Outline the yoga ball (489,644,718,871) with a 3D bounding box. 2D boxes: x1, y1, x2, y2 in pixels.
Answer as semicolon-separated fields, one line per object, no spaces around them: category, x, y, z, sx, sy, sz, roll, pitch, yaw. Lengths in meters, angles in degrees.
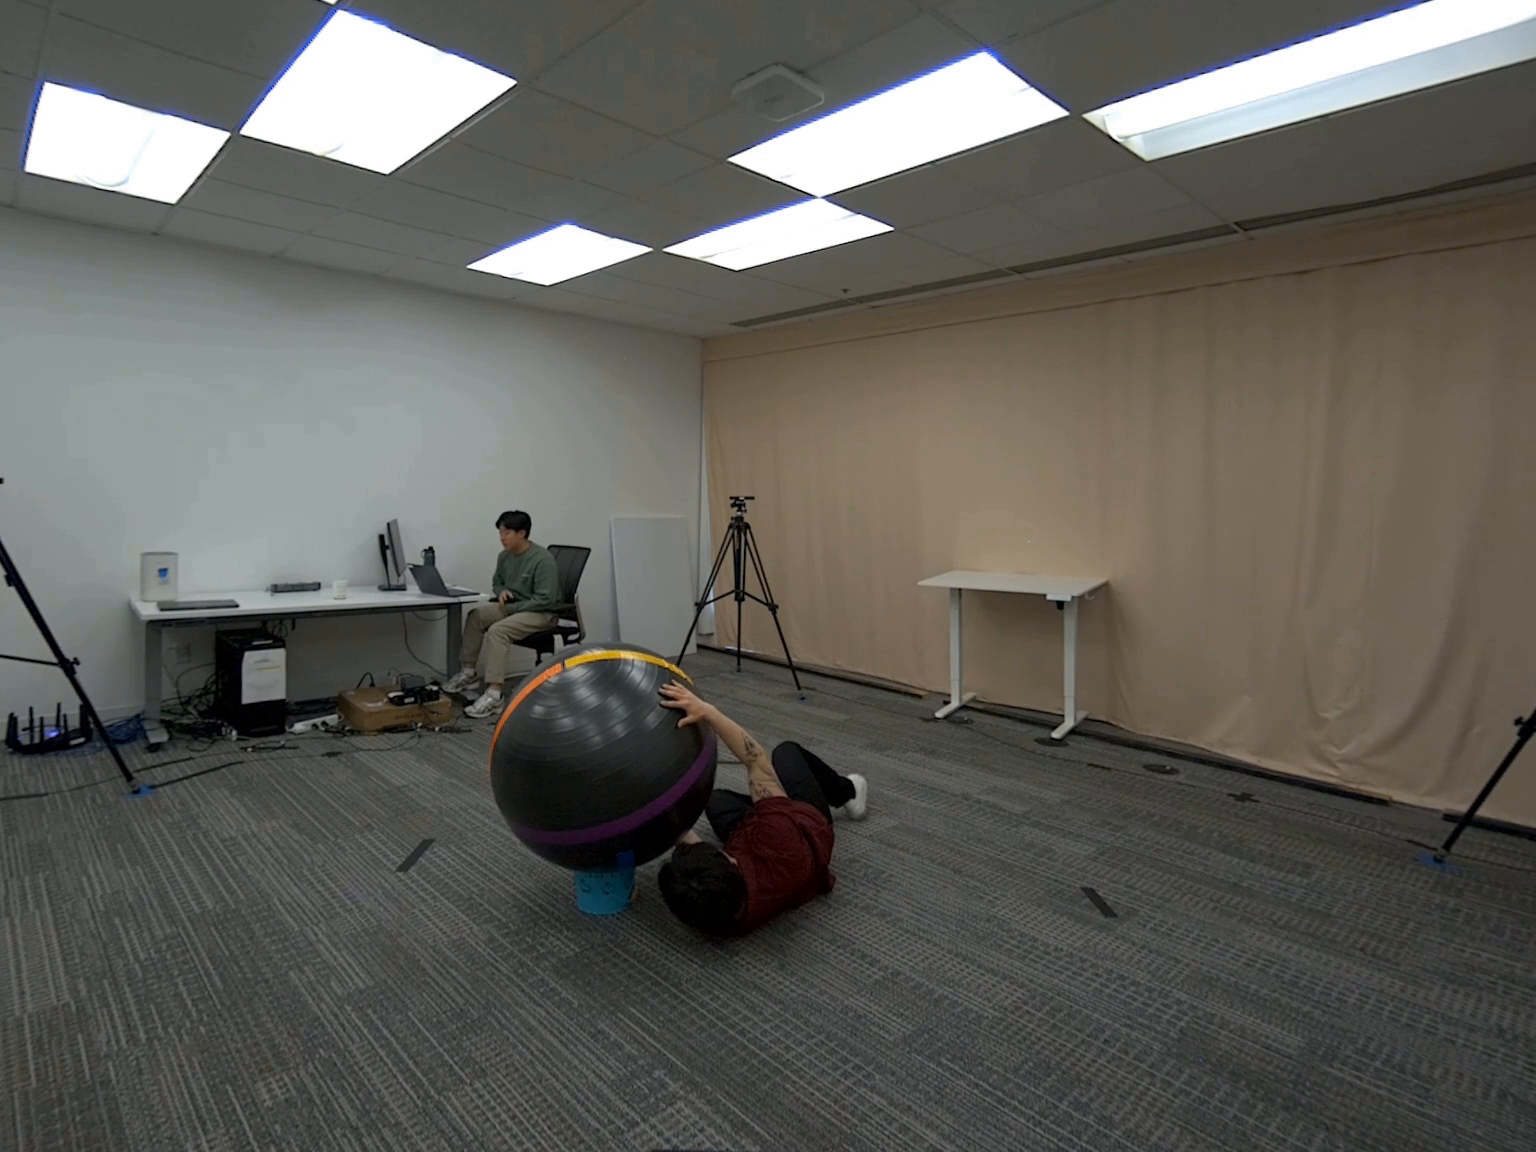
yoga ball;-0.564;0.612;2.847;0.757;0.756;0.761;1;4;-1
